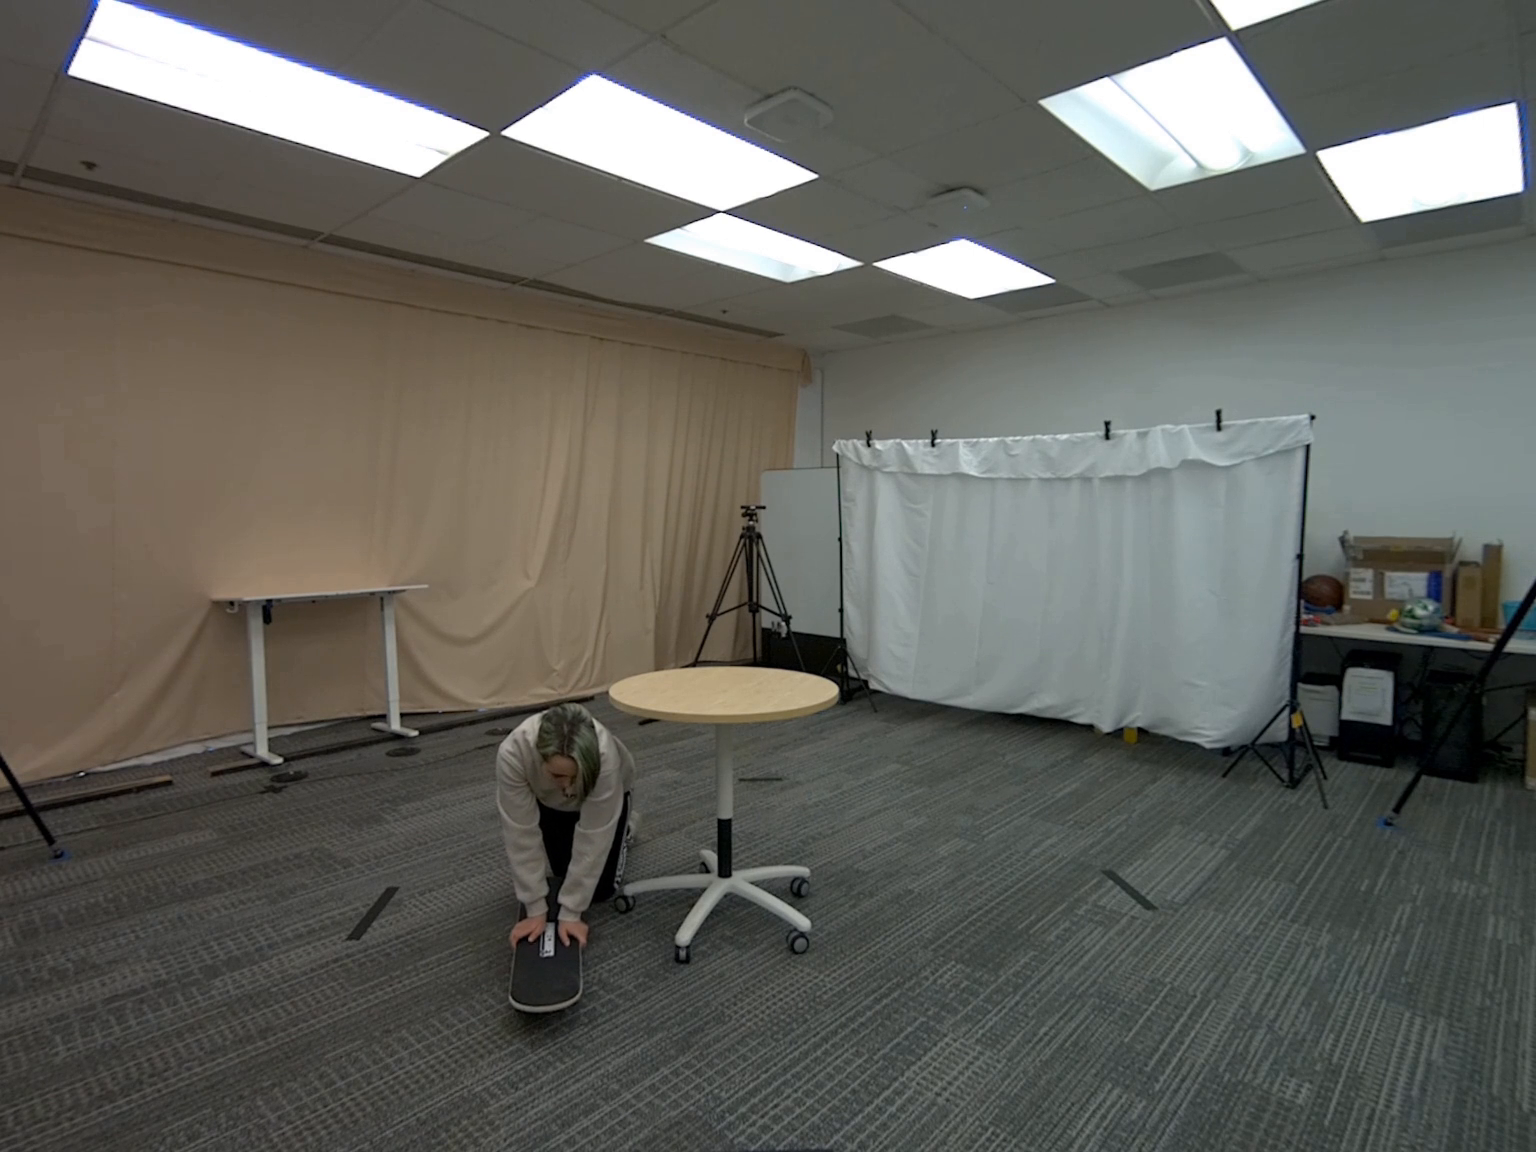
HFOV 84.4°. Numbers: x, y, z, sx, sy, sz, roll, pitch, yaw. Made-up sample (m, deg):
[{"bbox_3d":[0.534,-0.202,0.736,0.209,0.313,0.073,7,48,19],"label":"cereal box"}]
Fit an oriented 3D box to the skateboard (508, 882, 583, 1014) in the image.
[{"bbox_3d":[-0.666,1.126,2.544,0.191,0.110,0.797,-1,4,-13],"label":"skateboard"}]
